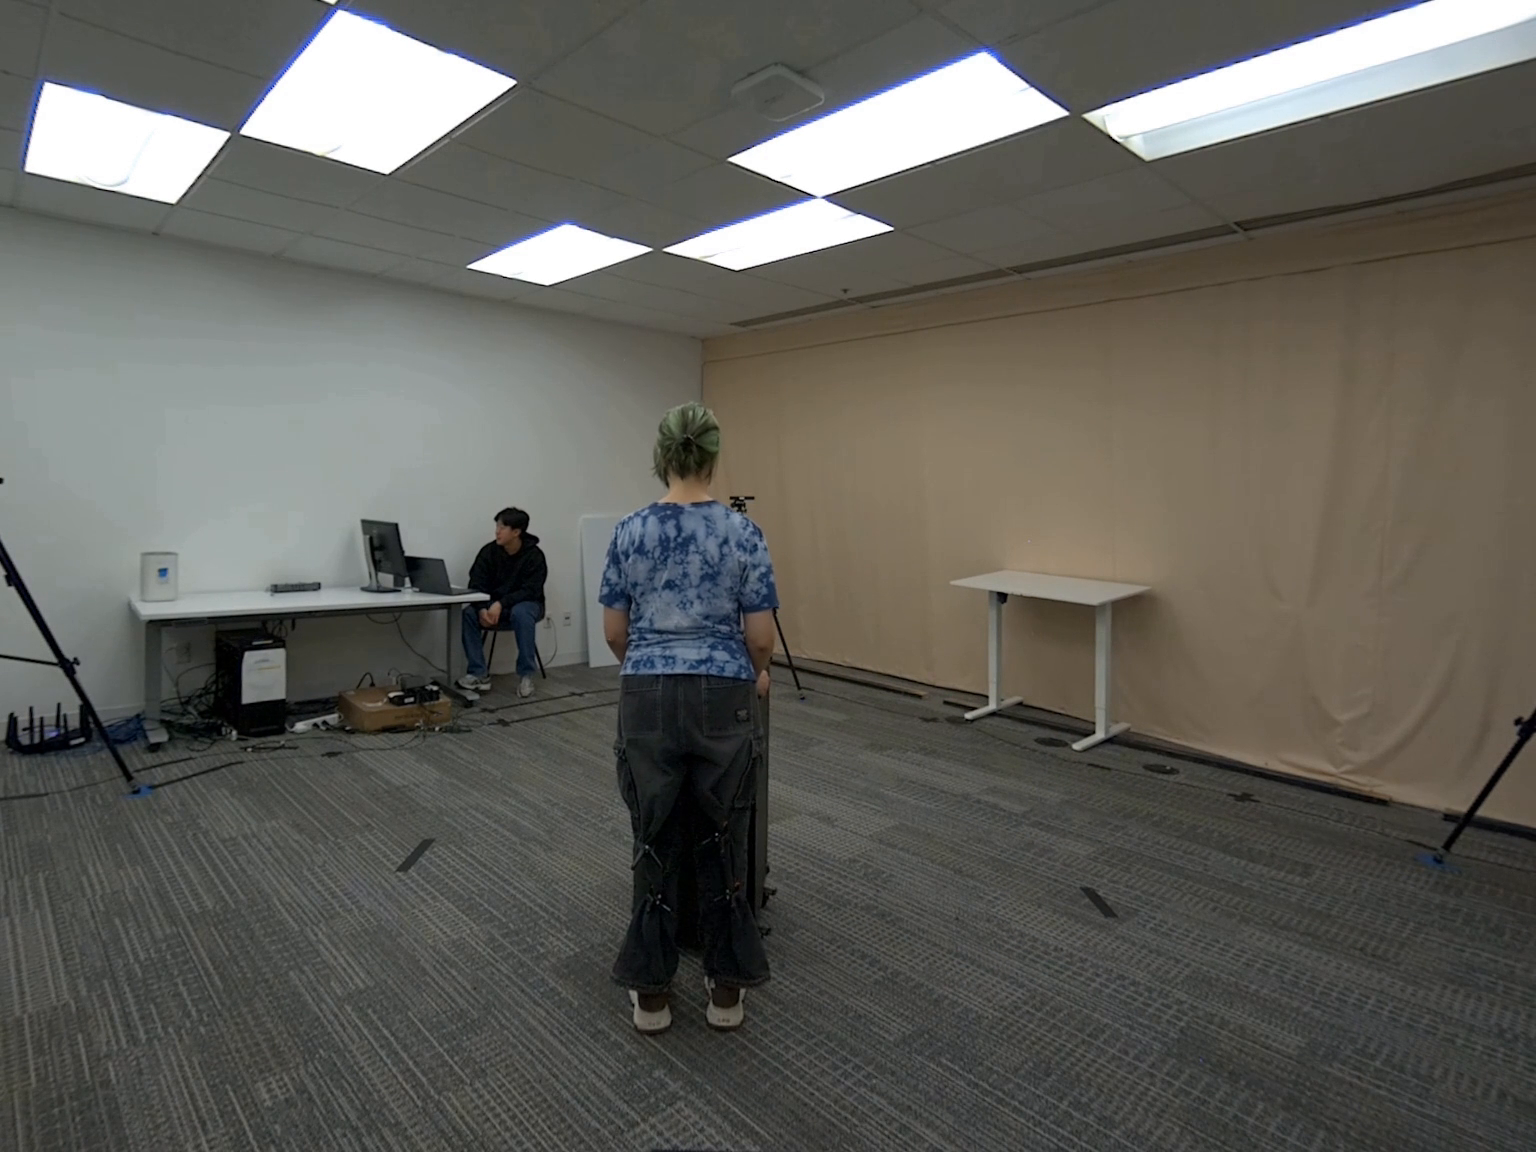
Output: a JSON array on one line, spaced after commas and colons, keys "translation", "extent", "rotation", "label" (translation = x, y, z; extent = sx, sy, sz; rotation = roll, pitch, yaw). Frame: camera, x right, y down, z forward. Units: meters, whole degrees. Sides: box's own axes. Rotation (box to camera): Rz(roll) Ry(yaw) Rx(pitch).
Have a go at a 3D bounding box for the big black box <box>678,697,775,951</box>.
[{"translation": [-0.199, 0.723, 2.736], "extent": [0.399, 0.860, 0.519], "rotation": [0, 3, 7], "label": "big black box"}]
